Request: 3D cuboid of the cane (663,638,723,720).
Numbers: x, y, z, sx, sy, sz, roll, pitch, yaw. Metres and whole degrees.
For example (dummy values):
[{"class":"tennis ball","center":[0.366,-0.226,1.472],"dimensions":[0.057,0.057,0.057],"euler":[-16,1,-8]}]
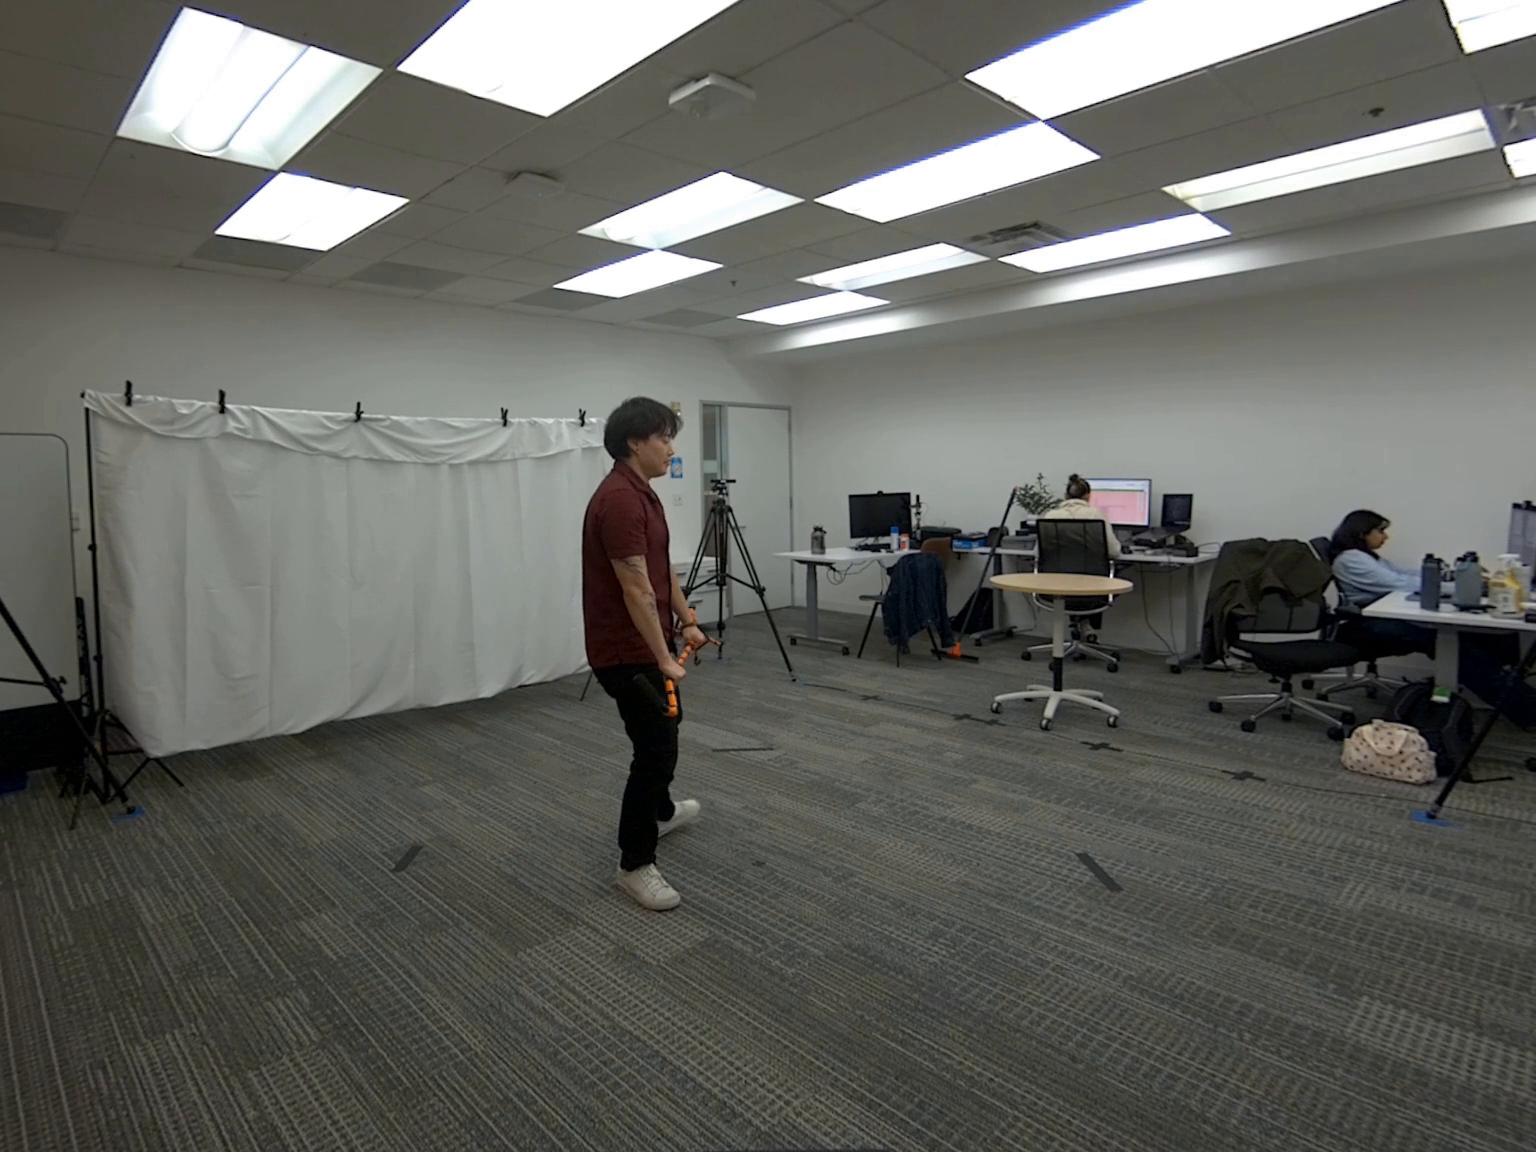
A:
[{"class":"cane","center":[-0.287,0.317,2.902],"dimensions":[0.152,0.205,0.912],"euler":[-37,7,8]}]
